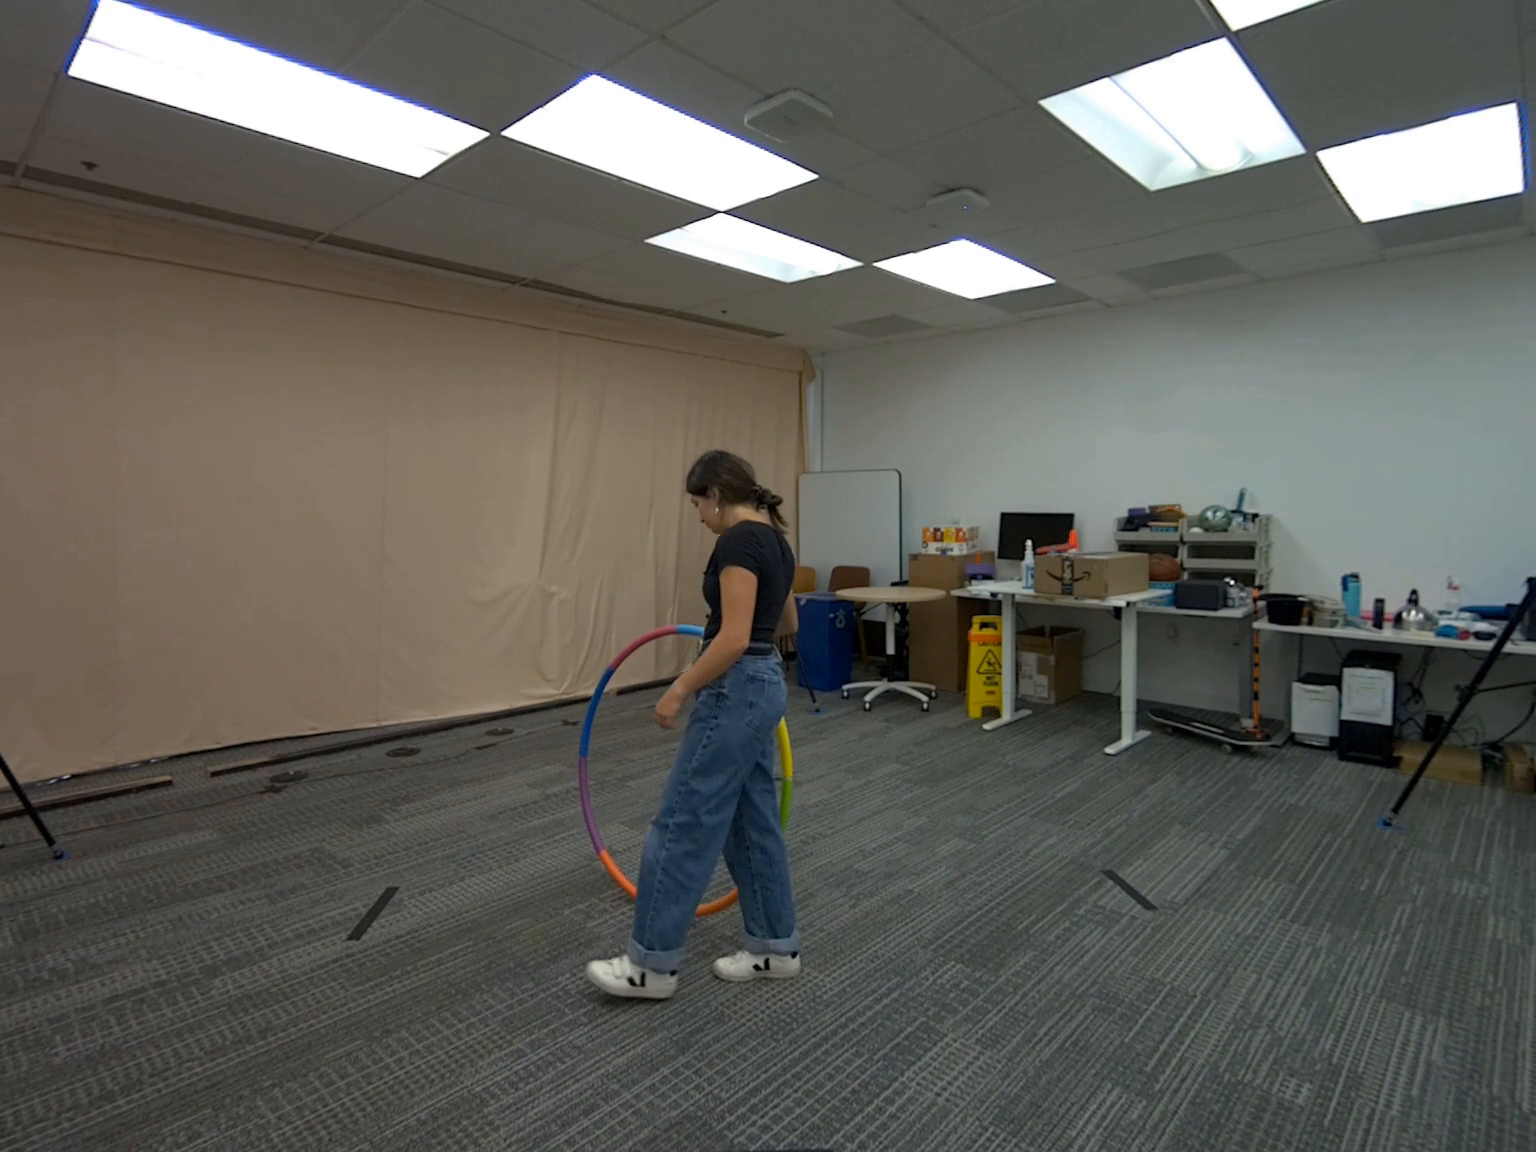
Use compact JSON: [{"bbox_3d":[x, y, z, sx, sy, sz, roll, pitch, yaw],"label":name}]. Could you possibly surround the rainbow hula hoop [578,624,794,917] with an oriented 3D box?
[{"bbox_3d":[-0.323,0.665,2.950,1.010,0.981,0.034,3,-7,38],"label":"rainbow hula hoop"}]
